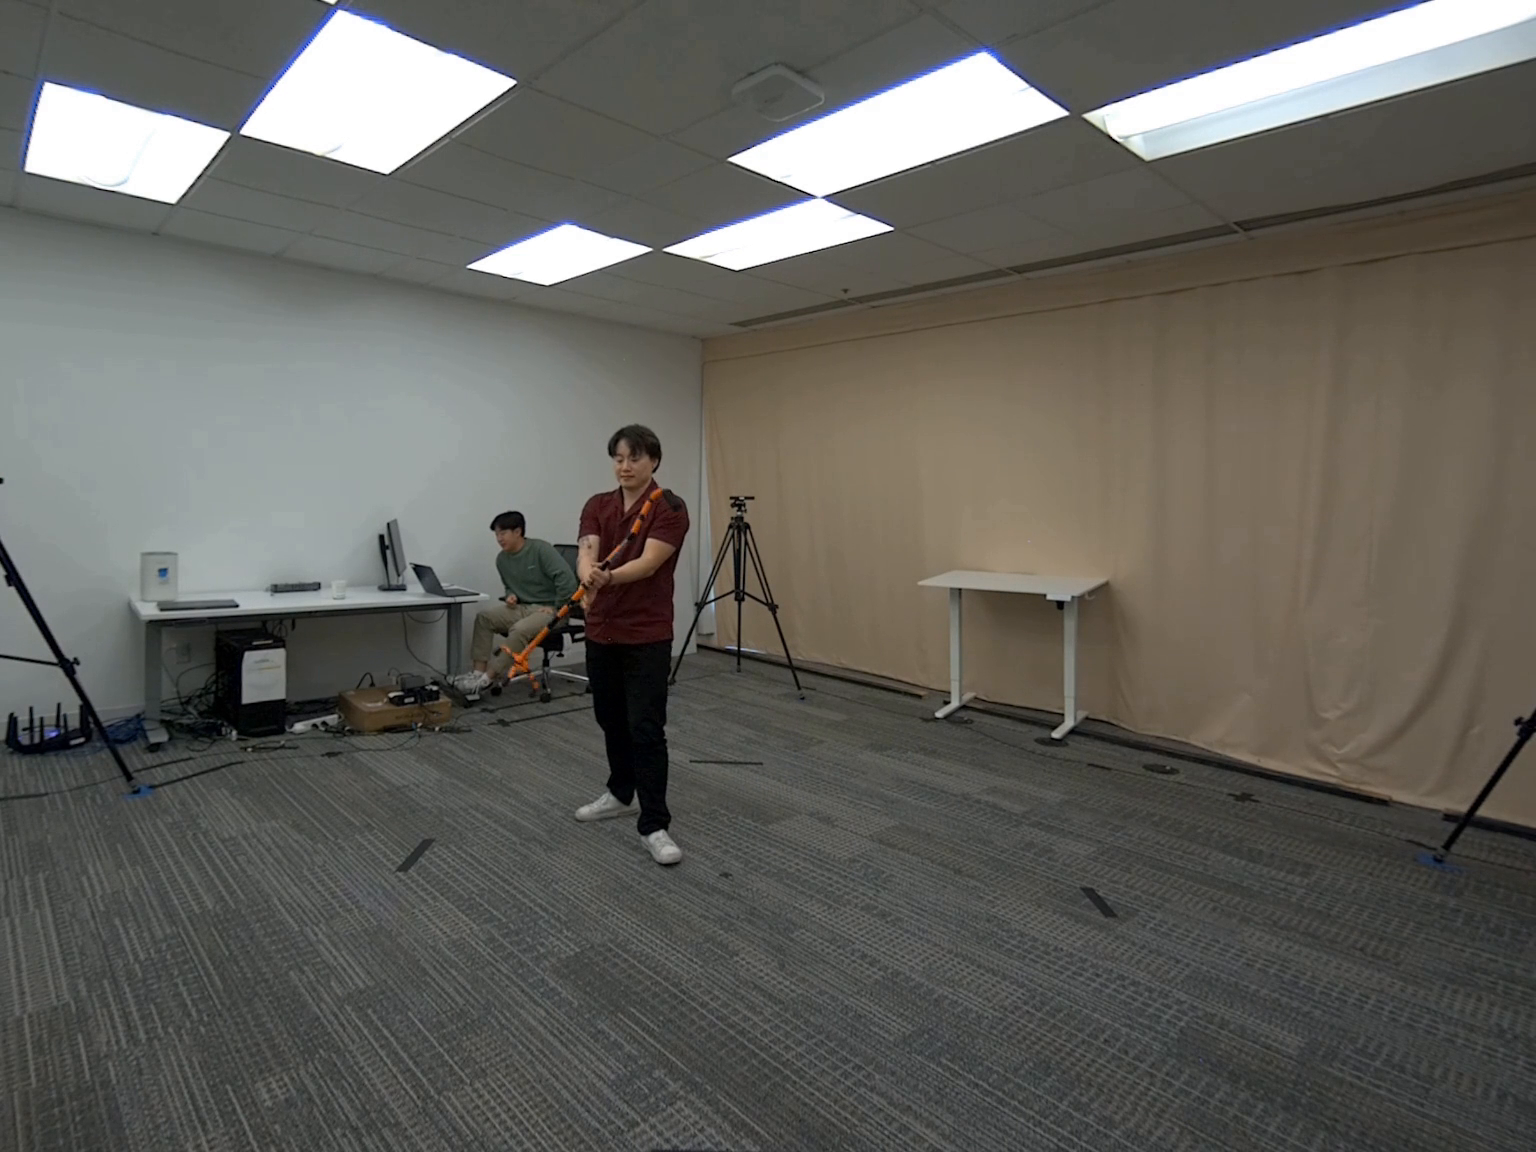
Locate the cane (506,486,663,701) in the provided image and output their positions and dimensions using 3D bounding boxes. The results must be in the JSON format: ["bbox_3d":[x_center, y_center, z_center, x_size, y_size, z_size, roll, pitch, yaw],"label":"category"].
[{"bbox_3d":[-0.647,0.030,3.041,0.147,0.908,0.213,34,12,-41],"label":"cane"}]
